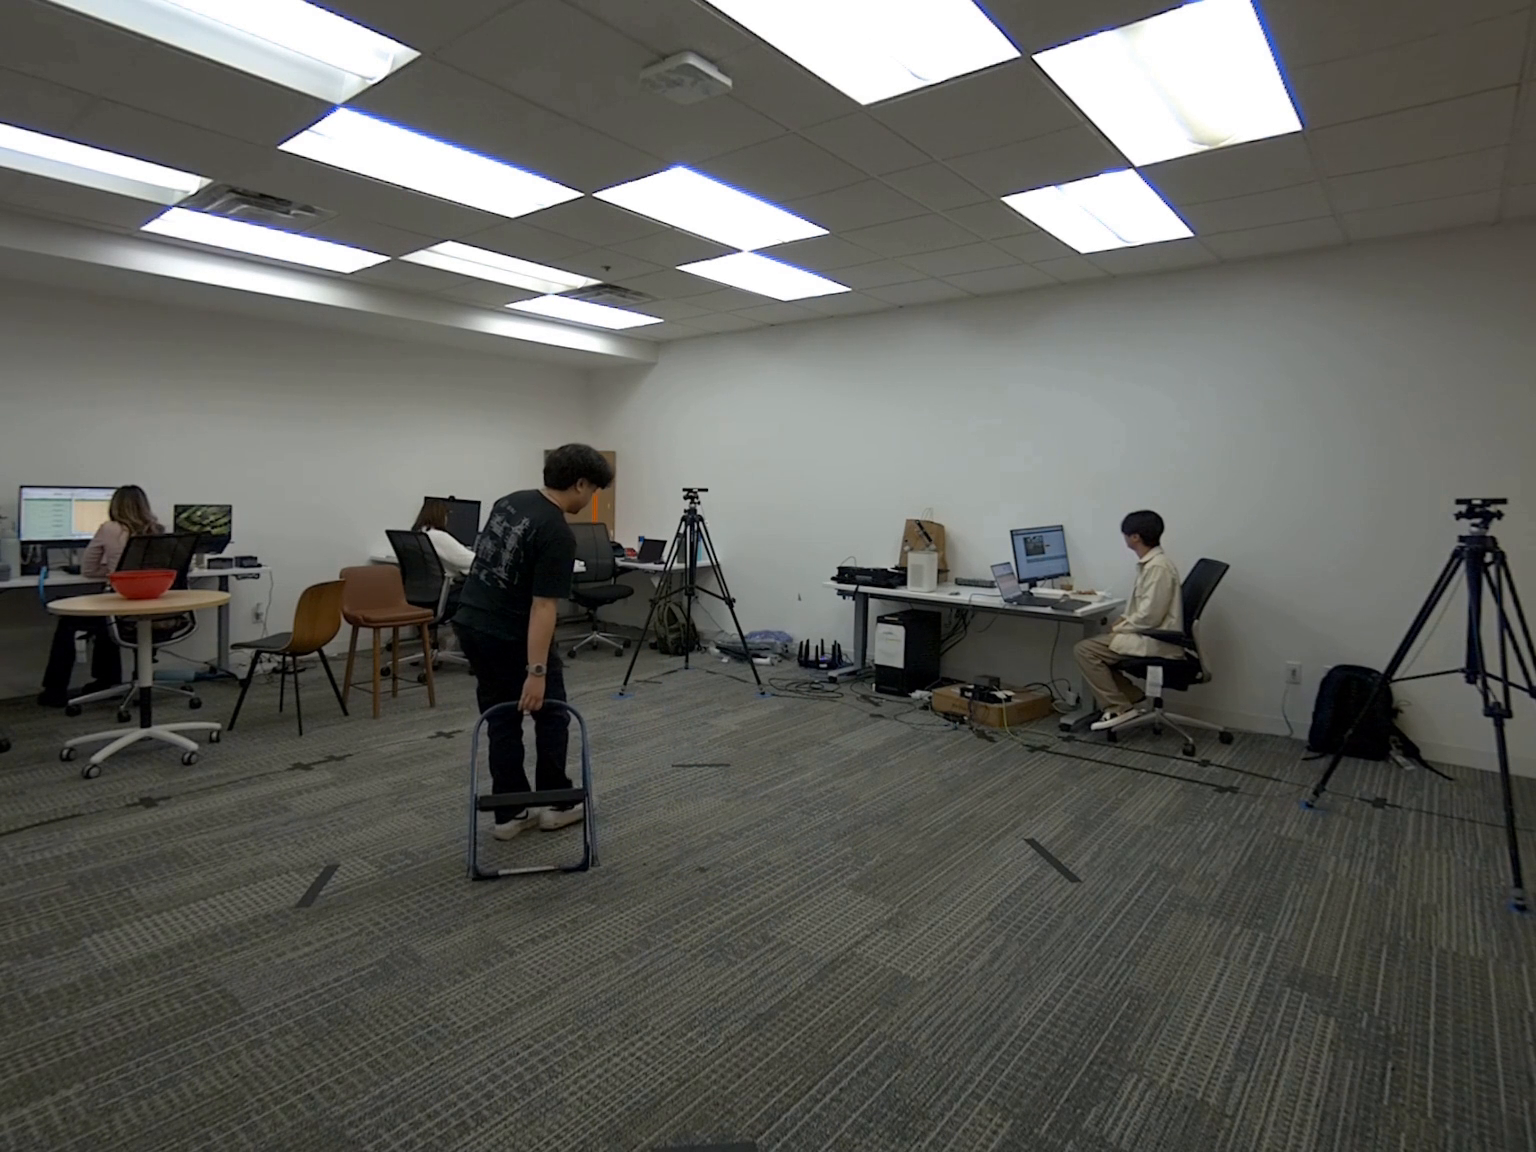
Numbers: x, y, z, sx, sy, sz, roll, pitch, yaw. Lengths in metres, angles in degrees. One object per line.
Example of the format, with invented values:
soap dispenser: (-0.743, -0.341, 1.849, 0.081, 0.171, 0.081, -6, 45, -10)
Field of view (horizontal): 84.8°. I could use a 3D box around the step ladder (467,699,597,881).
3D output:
step ladder: (-0.846, 0.731, 3.010, 0.424, 0.620, 0.347, 0, -22, -16)
